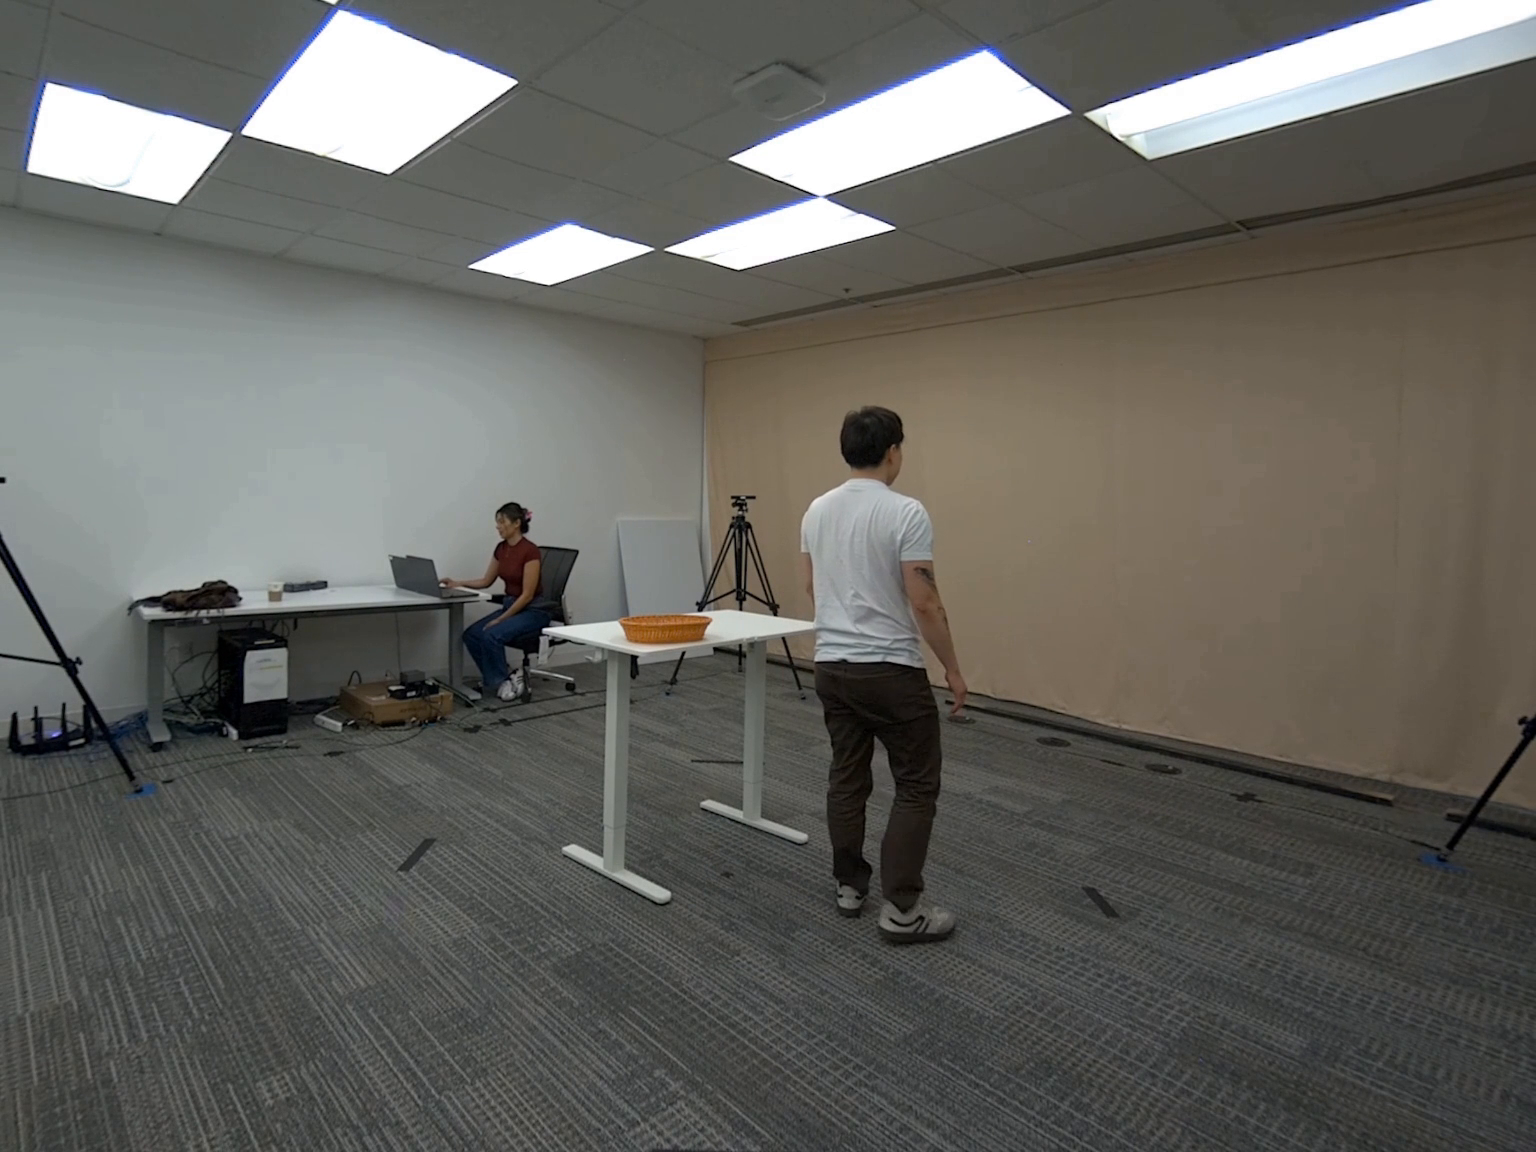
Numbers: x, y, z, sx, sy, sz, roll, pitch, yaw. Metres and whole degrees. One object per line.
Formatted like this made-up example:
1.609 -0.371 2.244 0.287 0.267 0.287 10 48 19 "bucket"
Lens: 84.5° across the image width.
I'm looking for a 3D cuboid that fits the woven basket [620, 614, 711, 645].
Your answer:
-0.372 0.190 3.007 0.344 0.073 0.258 -2 6 -28 "woven basket"
